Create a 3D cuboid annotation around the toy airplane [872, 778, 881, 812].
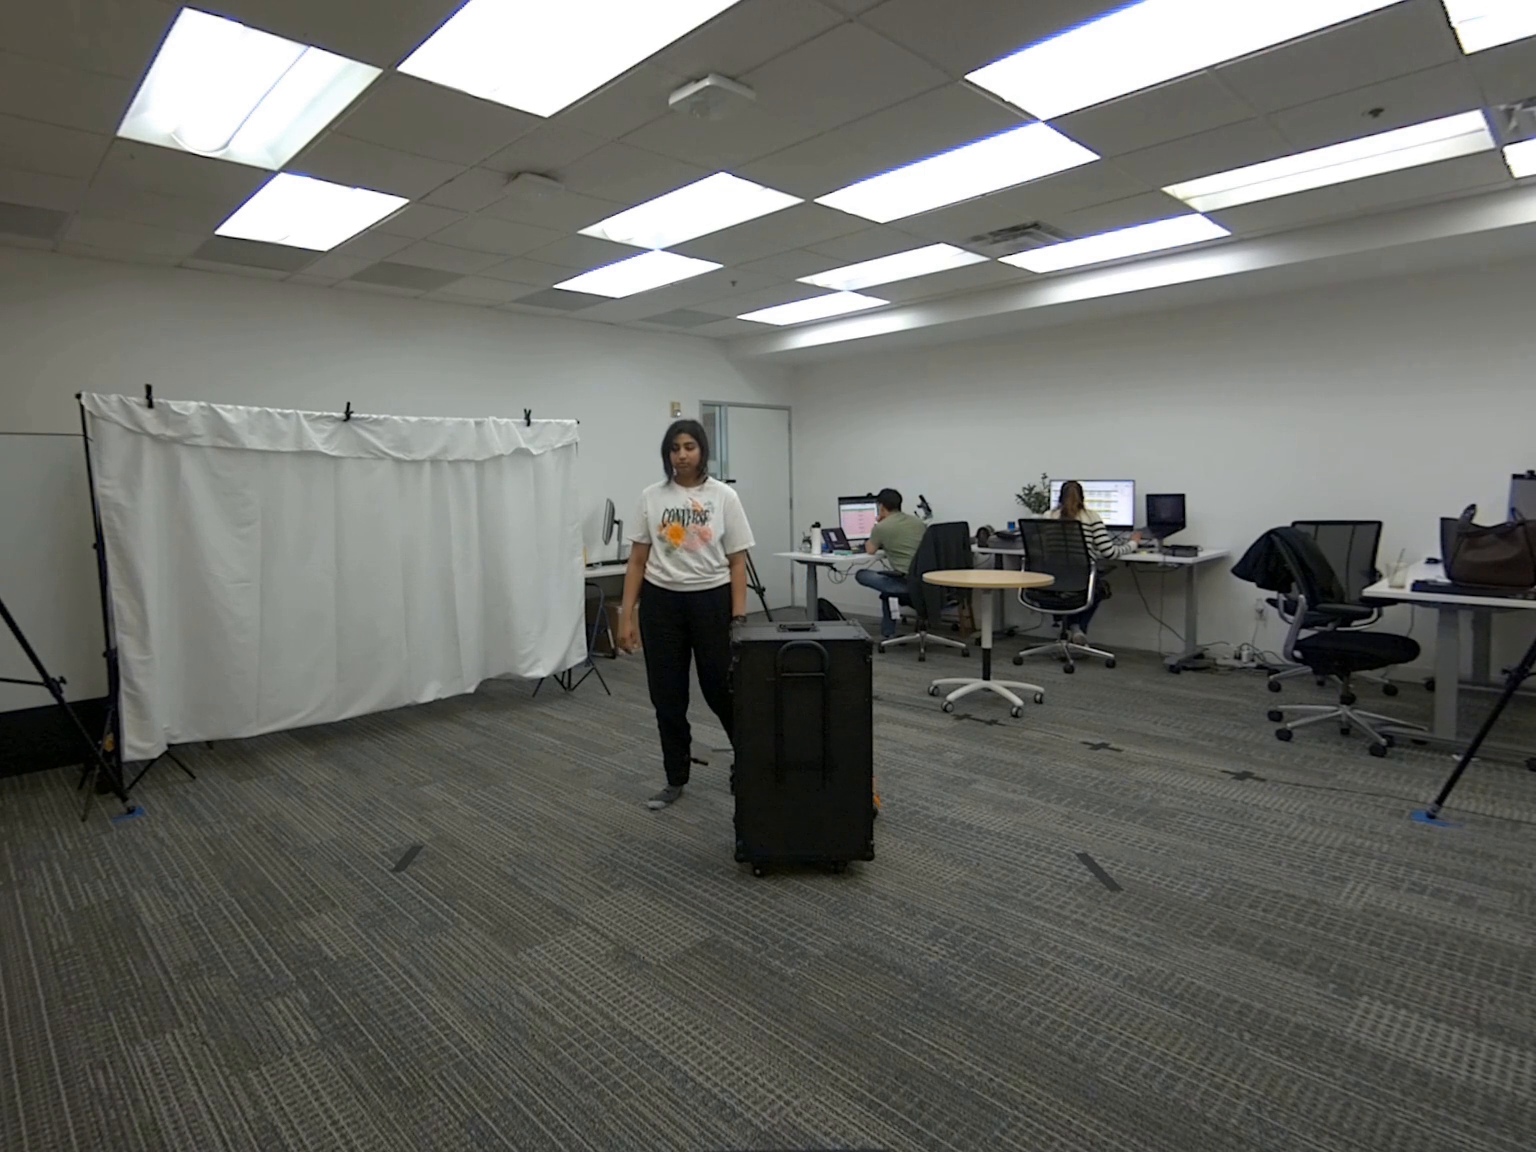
[{"bbox_3d":[0.332,0.924,3.518,0.262,0.156,0.249,2,5,11],"label":"toy airplane"}]
